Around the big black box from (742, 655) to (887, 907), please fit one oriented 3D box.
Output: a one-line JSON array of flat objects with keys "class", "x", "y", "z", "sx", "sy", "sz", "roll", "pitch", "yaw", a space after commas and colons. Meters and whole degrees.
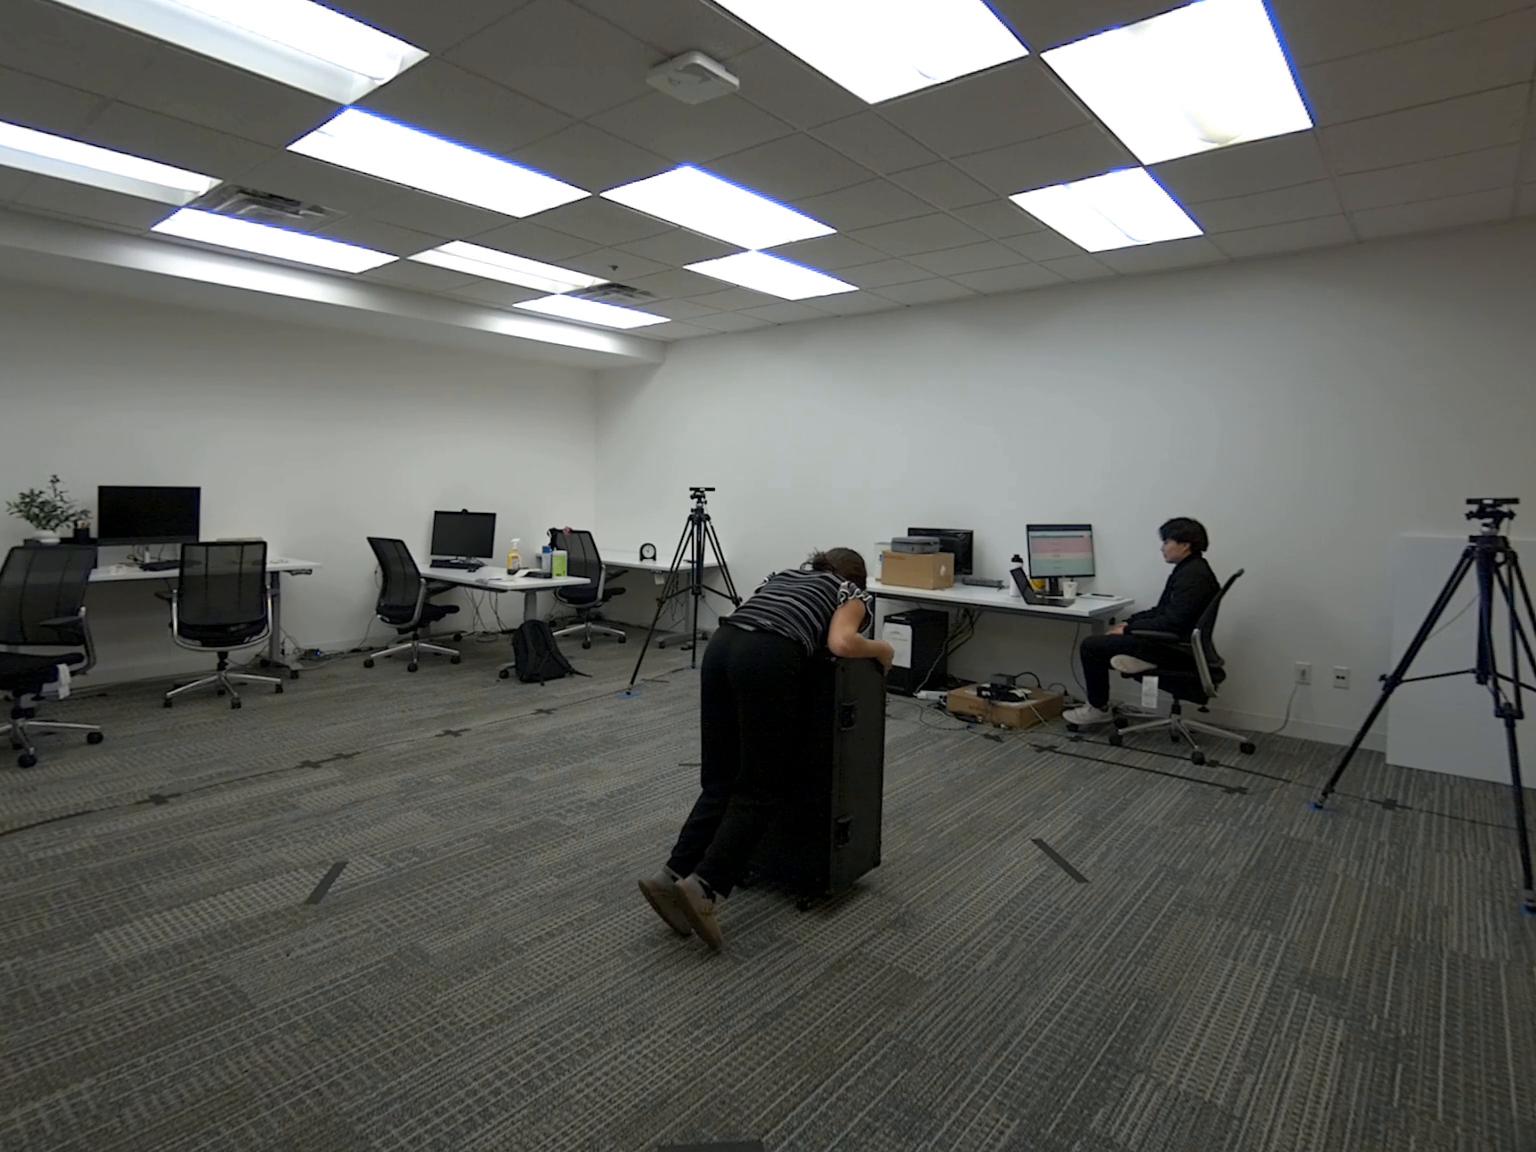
[{"class": "big black box", "x": 0.108, "y": 0.668, "z": 3.021, "sx": 0.538, "sy": 0.860, "sz": 0.384, "roll": 4, "pitch": 2, "yaw": 37}]
